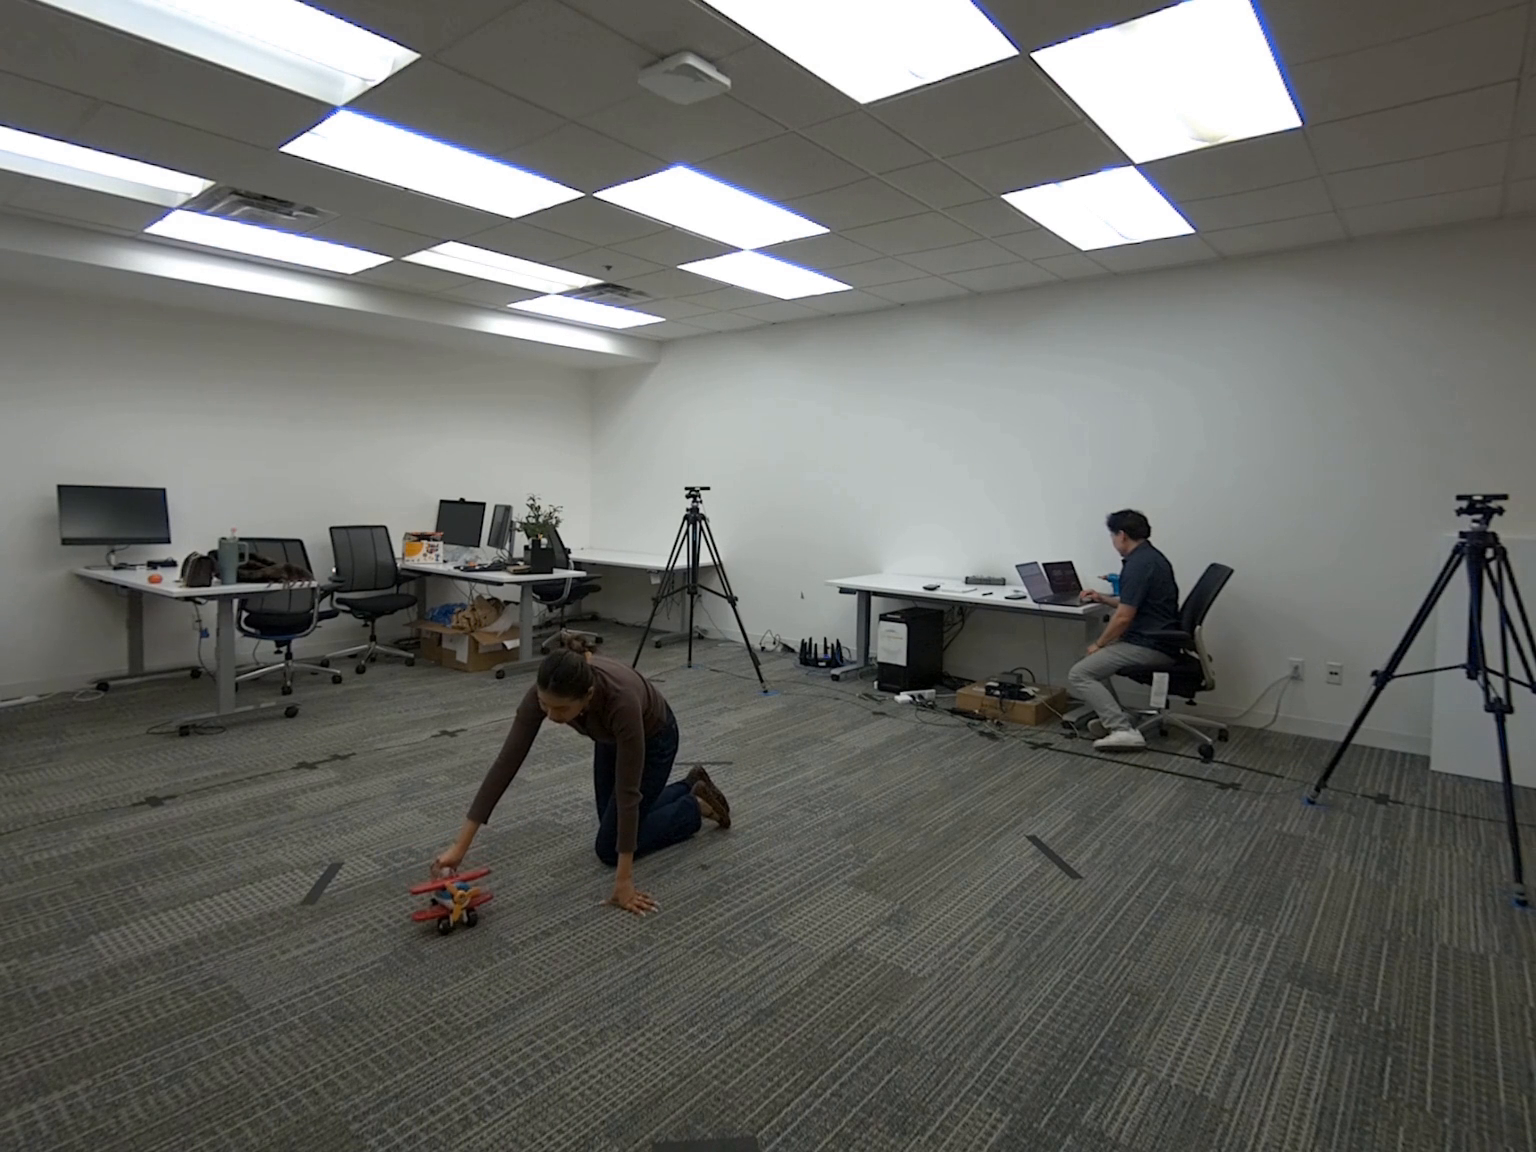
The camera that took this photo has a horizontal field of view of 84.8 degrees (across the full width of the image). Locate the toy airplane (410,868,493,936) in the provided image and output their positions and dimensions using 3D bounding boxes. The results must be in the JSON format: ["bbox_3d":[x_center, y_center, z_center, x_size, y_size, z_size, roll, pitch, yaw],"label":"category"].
[{"bbox_3d":[-1.044,1.024,2.708,0.266,0.155,0.246,5,7,23],"label":"toy airplane"}]
